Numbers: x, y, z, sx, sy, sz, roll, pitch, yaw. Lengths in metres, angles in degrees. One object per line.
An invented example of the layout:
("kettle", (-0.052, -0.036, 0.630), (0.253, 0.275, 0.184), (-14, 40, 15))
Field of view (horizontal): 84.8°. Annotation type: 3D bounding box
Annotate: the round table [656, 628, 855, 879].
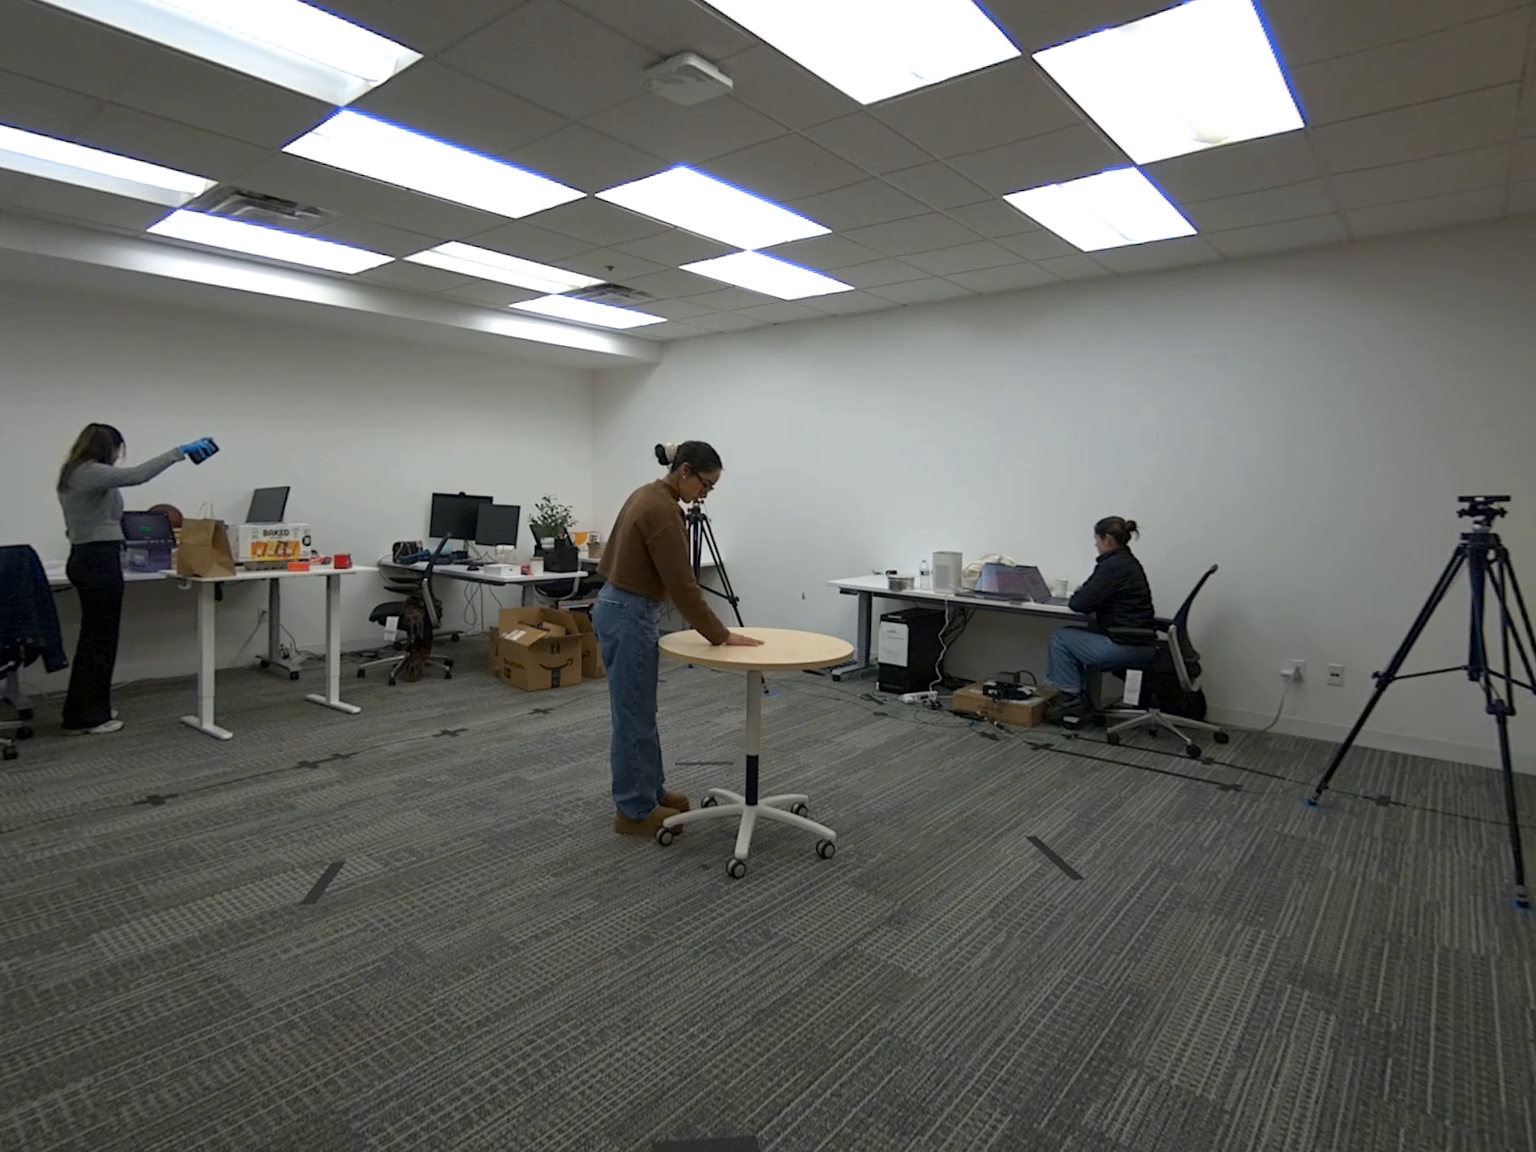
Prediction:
("round table", (-0.066, 0.657, 3.364), (0.763, 0.792, 0.767), (1, 4, -2))
